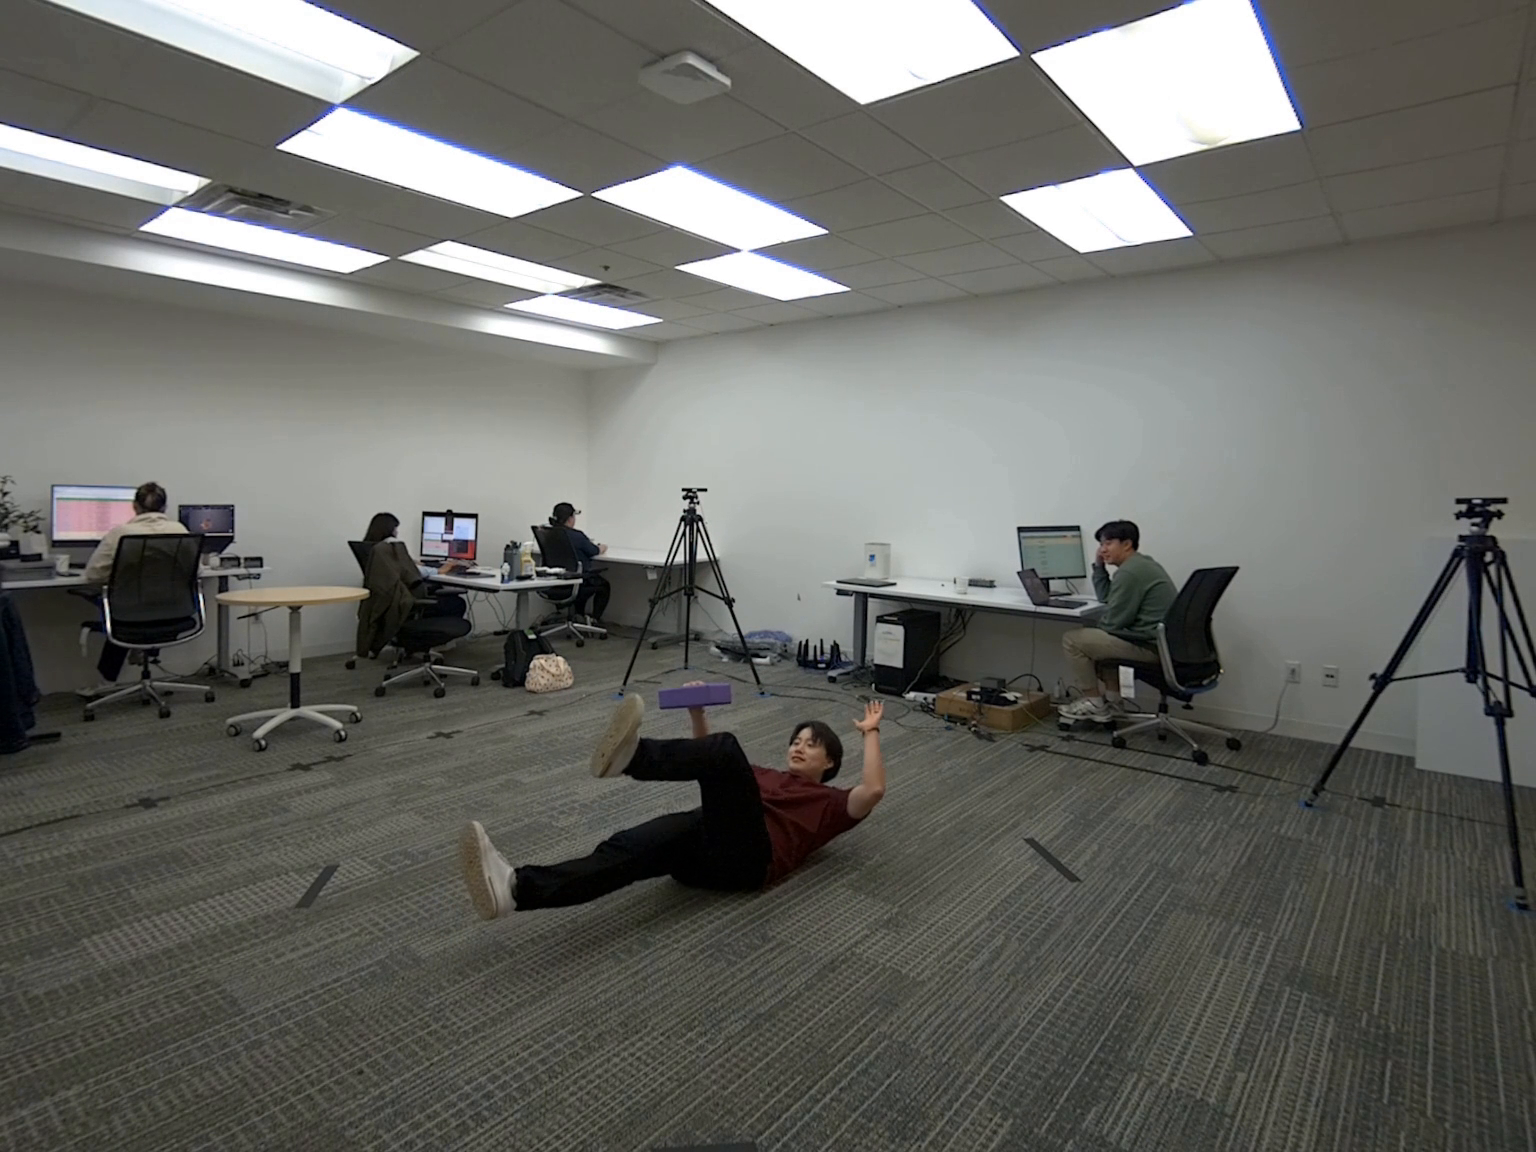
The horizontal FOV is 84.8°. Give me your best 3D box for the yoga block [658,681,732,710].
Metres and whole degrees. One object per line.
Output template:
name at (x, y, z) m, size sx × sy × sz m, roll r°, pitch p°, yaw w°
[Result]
yoga block at (-0.277, 0.435, 3.077) m, size 0.234 × 0.077 × 0.144 m, roll -10°, pitch -10°, yaw 28°
